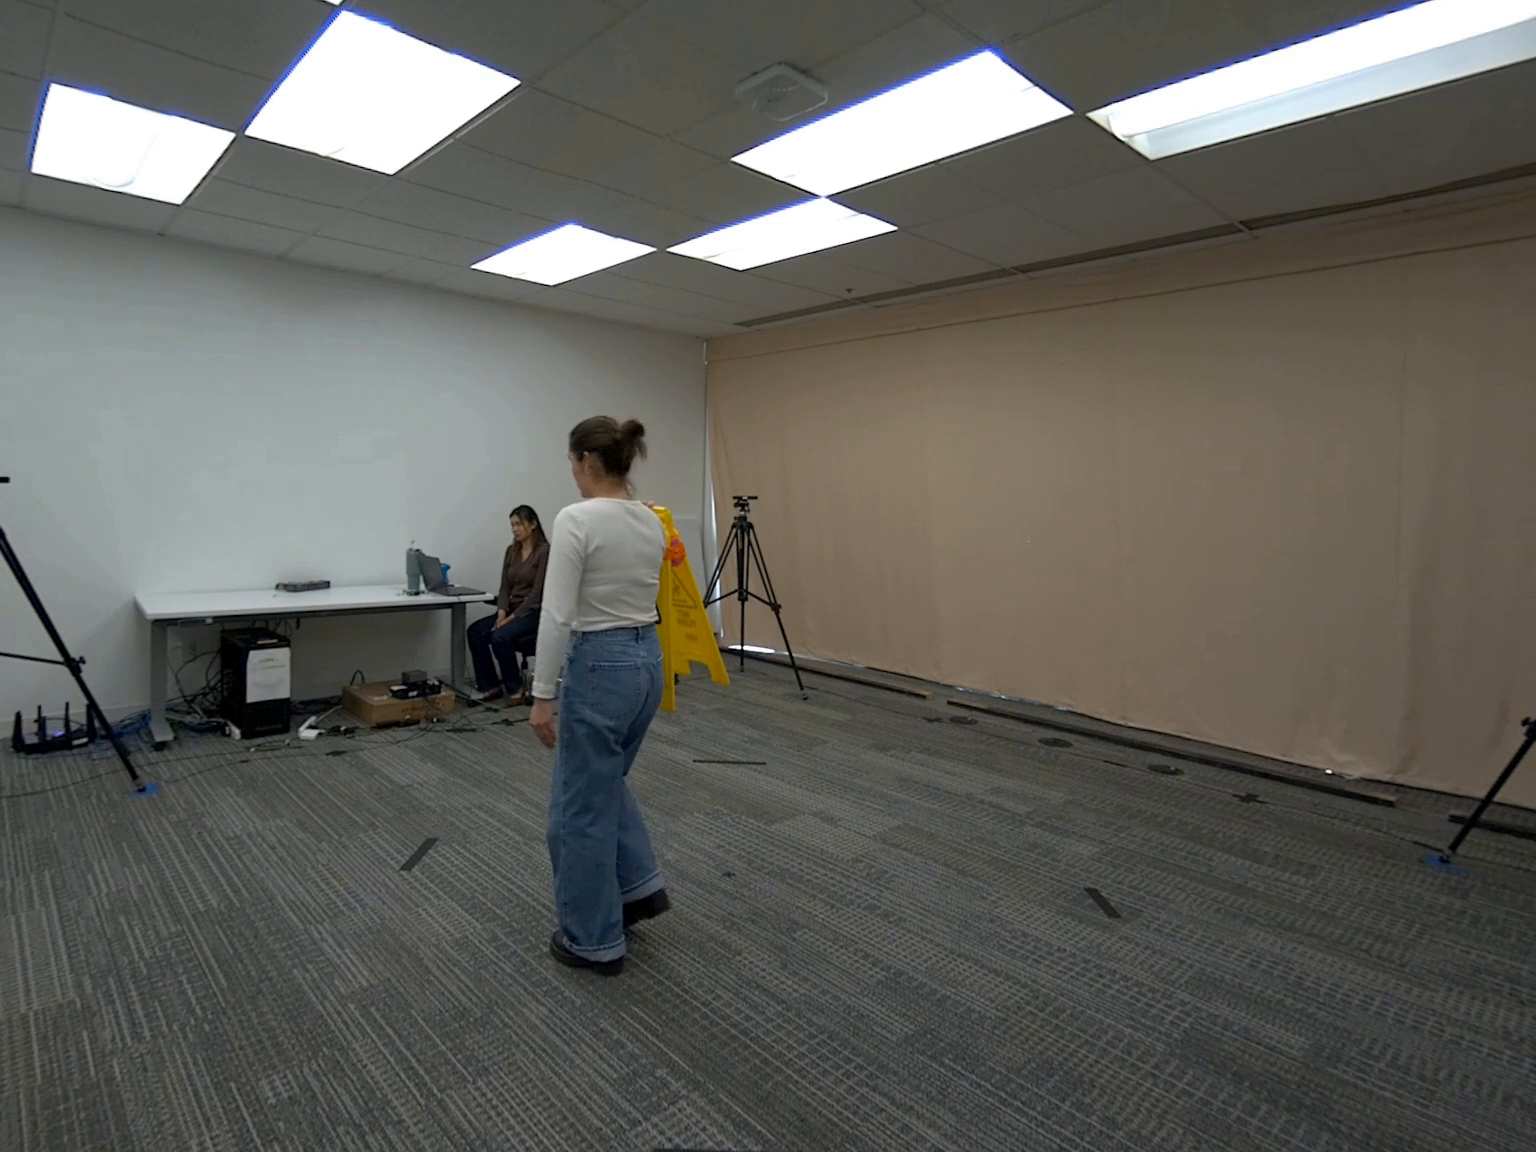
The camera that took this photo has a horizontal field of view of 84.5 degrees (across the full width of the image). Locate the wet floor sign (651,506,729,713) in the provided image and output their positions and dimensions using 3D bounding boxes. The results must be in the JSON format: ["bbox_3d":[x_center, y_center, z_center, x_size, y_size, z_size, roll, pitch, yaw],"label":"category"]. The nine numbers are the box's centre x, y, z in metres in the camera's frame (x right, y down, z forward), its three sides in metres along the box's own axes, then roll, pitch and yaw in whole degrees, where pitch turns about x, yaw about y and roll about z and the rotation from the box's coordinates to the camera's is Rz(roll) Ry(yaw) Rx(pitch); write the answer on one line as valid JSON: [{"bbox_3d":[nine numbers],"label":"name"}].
[{"bbox_3d":[-0.361,0.089,2.826,0.289,0.640,0.285,2,14,43],"label":"wet floor sign"}]
